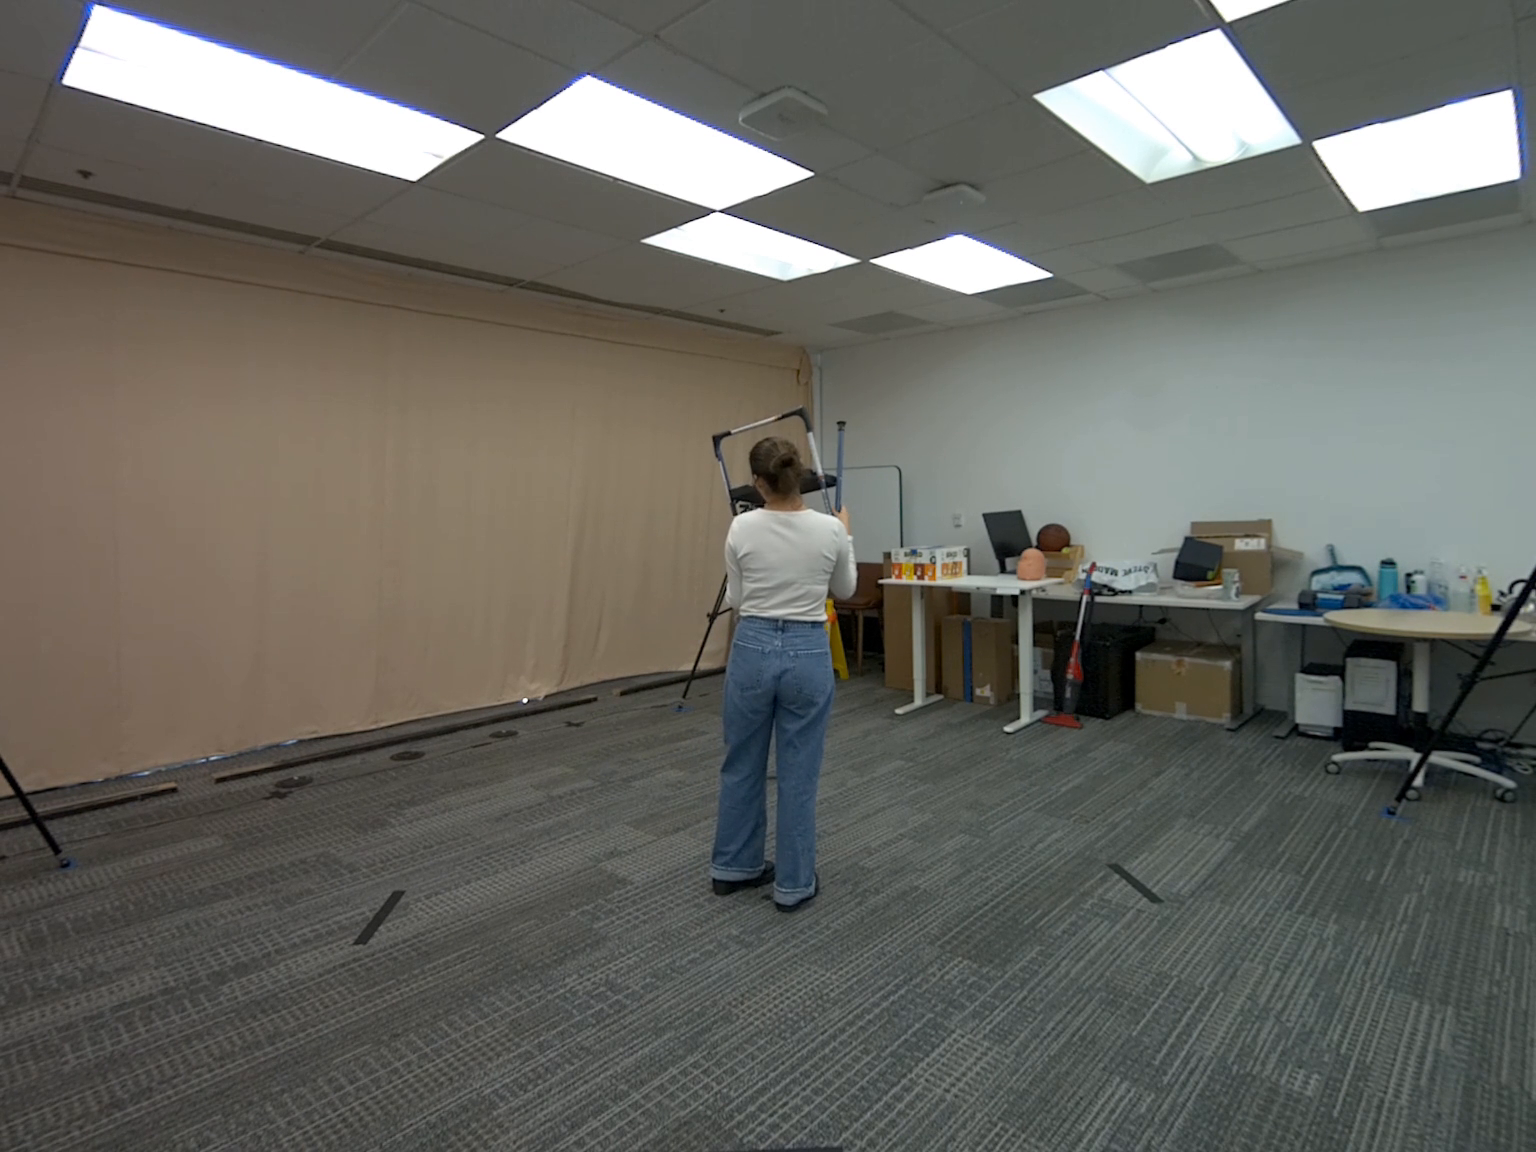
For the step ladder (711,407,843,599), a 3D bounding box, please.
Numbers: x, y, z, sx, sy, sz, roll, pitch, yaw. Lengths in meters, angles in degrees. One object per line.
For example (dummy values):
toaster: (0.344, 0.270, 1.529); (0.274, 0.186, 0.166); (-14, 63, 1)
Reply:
step ladder: (0.084, -0.280, 3.236); (0.442, 0.610, 0.338); (-12, -10, 33)
